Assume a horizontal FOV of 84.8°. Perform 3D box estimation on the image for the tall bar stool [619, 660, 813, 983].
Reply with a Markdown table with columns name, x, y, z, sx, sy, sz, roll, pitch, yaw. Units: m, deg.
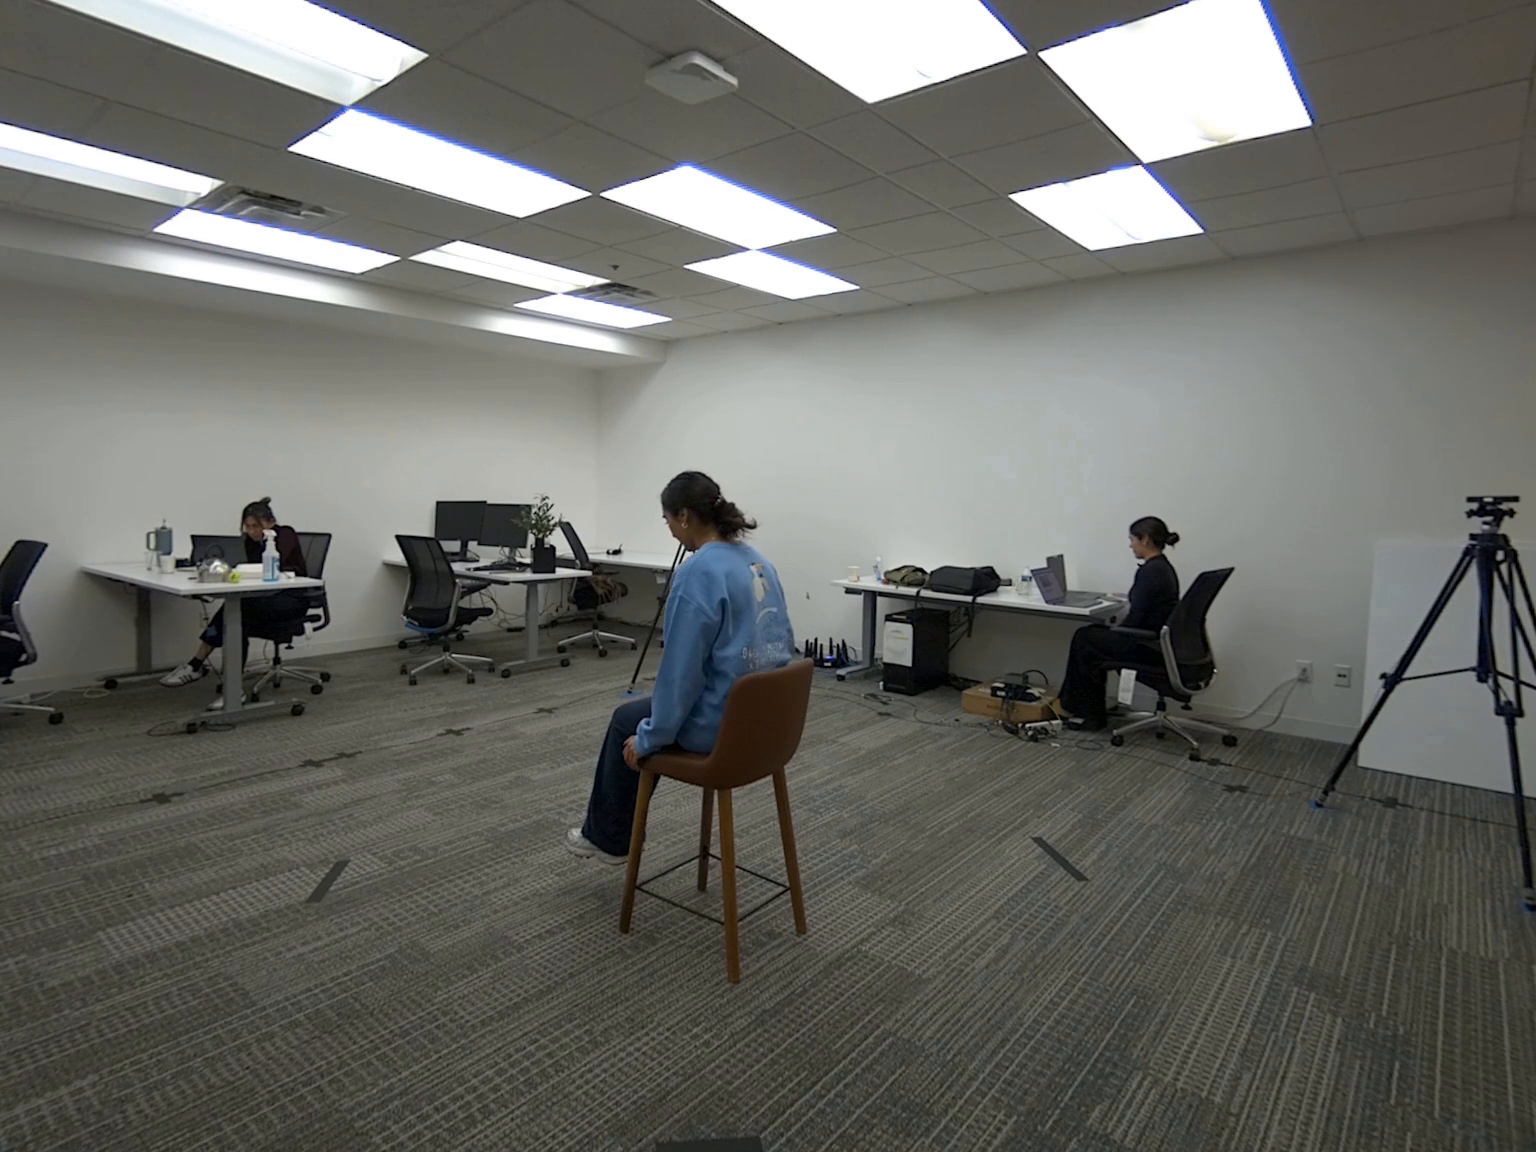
| name | x | y | z | sx | sy | sz | roll | pitch | yaw |
| --- | --- | --- | --- | --- | --- | --- | --- | --- | --- |
| tall bar stool | -0.157 | 0.679 | 2.629 | 0.484 | 0.886 | 0.443 | 7 | 7 | 37 |
